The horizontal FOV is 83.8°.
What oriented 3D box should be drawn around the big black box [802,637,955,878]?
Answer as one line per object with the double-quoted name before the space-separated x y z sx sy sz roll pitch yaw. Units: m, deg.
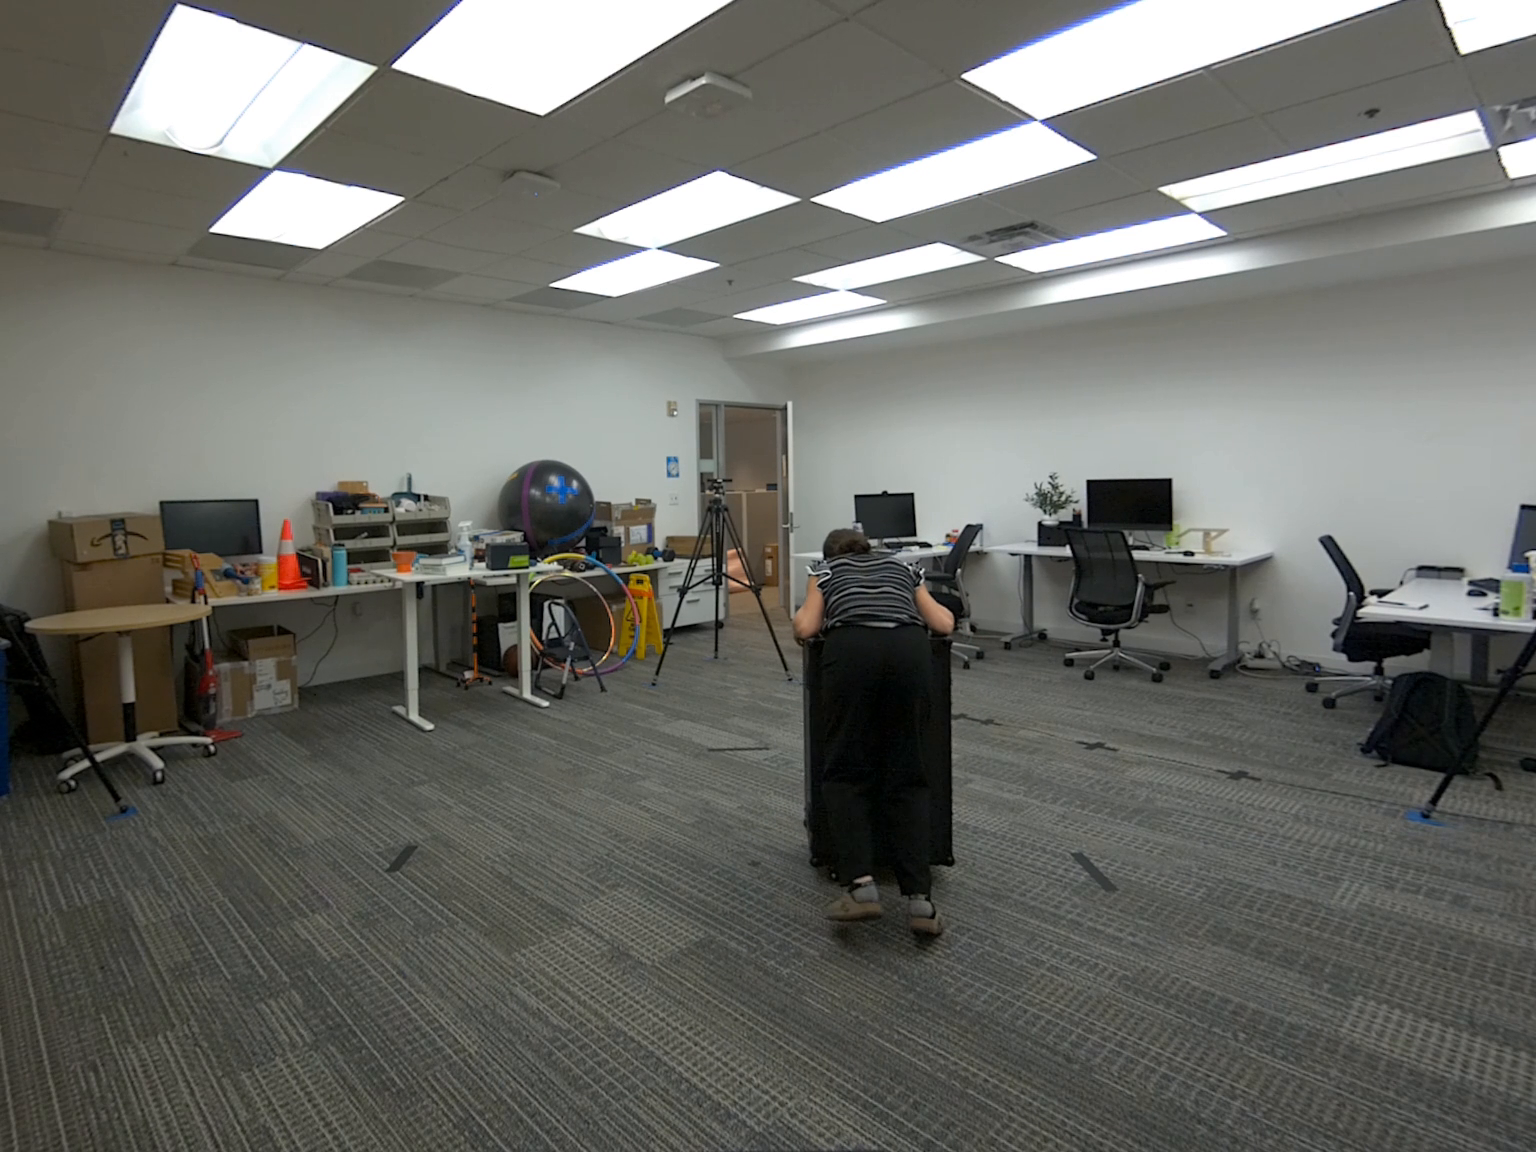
"big black box" 0.372 0.620 3.076 0.522 0.859 0.397 -2 3 2
